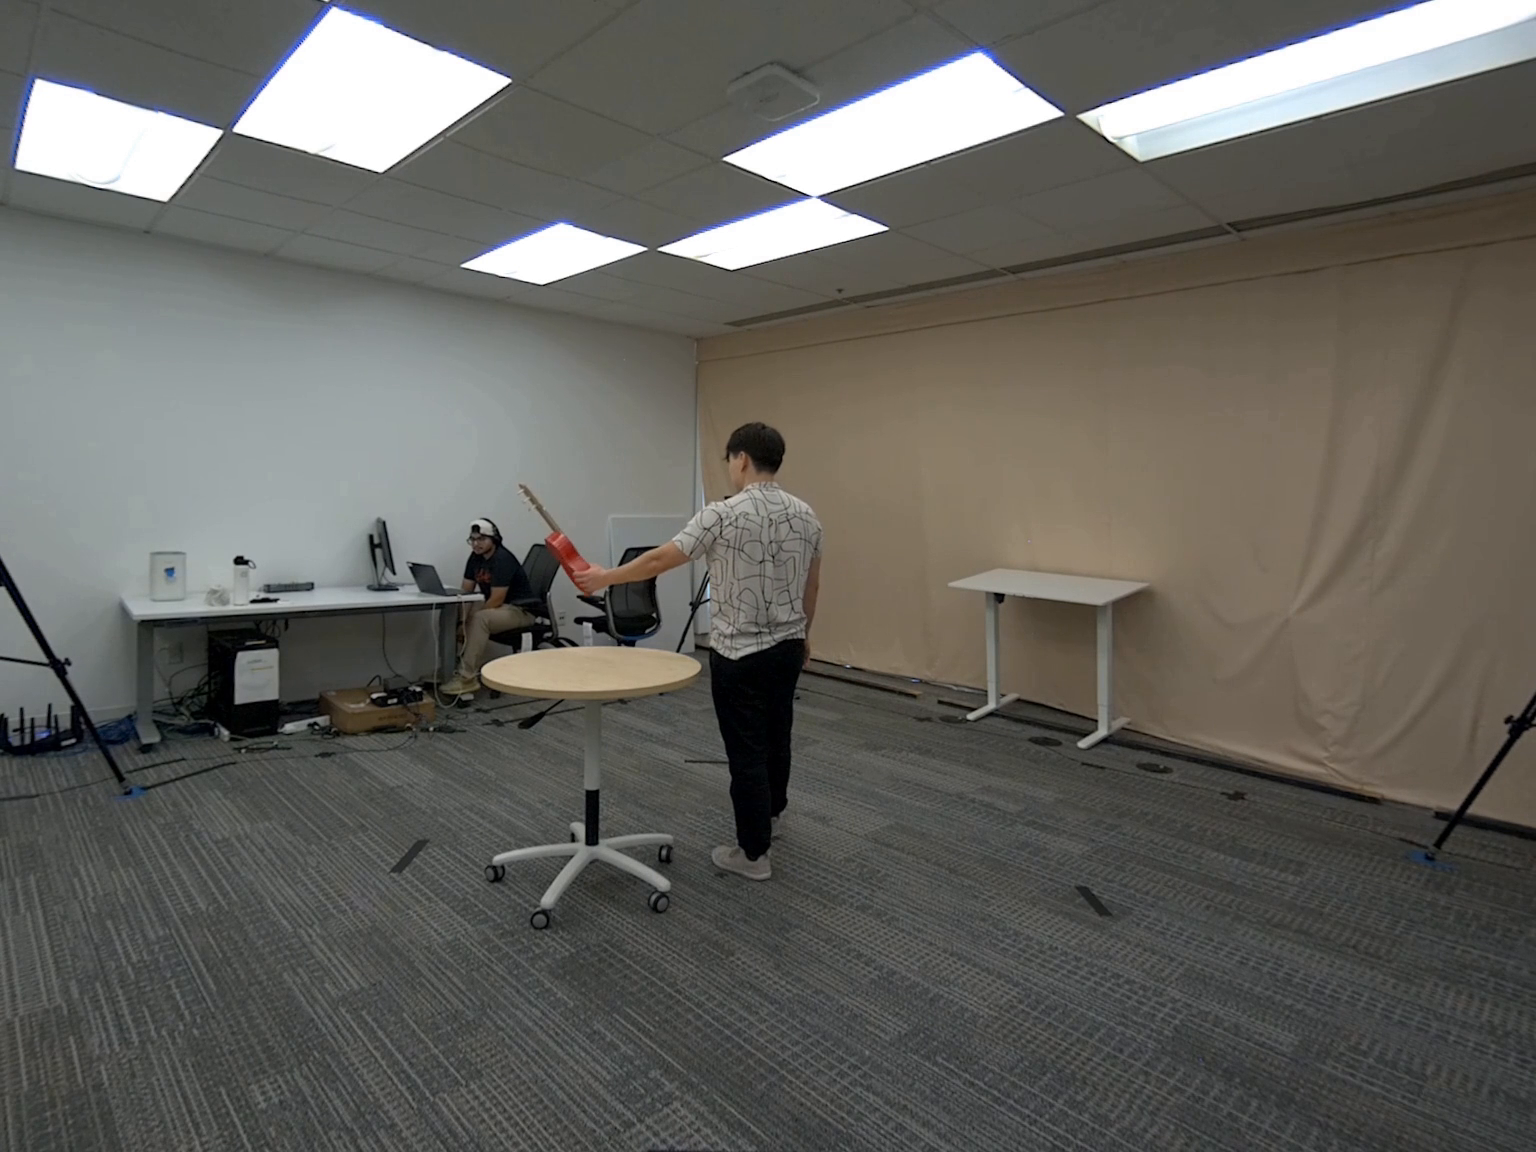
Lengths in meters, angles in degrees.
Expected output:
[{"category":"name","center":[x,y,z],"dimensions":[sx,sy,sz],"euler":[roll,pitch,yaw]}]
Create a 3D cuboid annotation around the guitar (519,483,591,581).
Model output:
[{"category":"guitar","center":[-0.825,-0.144,3.270],"dimensions":[0.070,0.495,0.195],"euler":[-39,6,-19]}]
